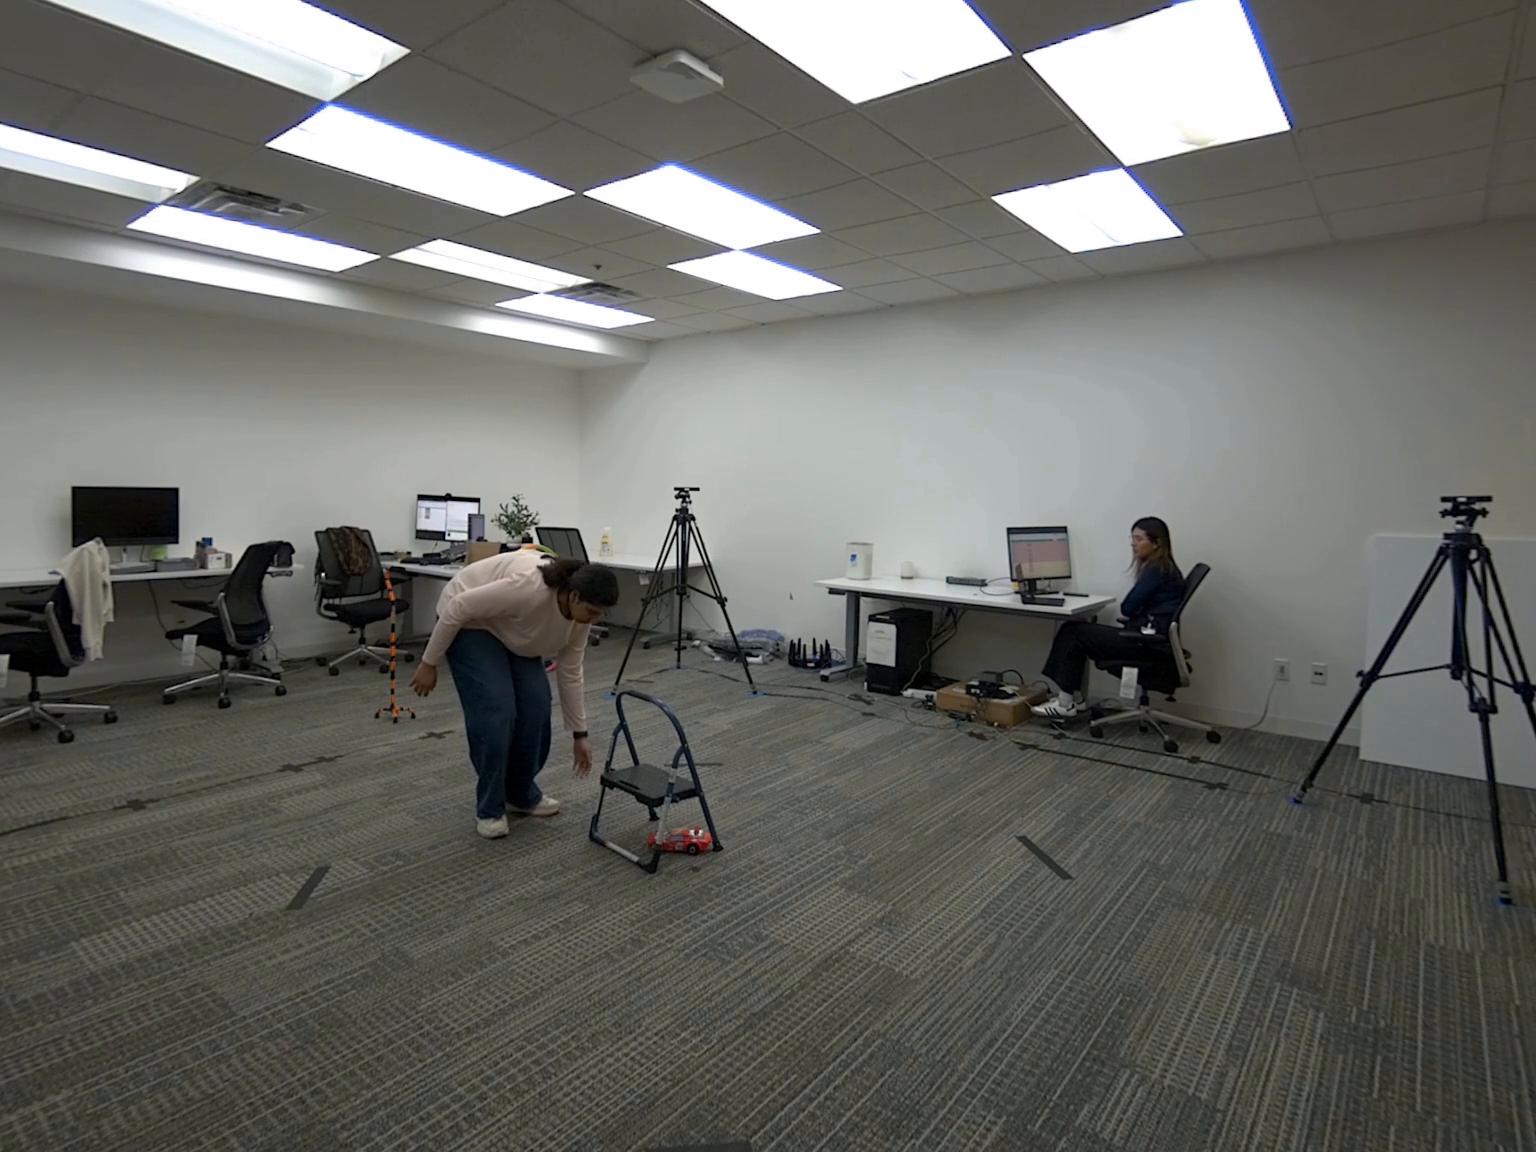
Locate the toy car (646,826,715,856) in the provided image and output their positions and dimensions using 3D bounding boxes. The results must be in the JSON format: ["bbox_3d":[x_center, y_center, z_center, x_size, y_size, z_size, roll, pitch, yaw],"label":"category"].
[{"bbox_3d":[-0.346,1.017,3.273,0.255,0.083,0.130,-11,5,4],"label":"toy car"}]
